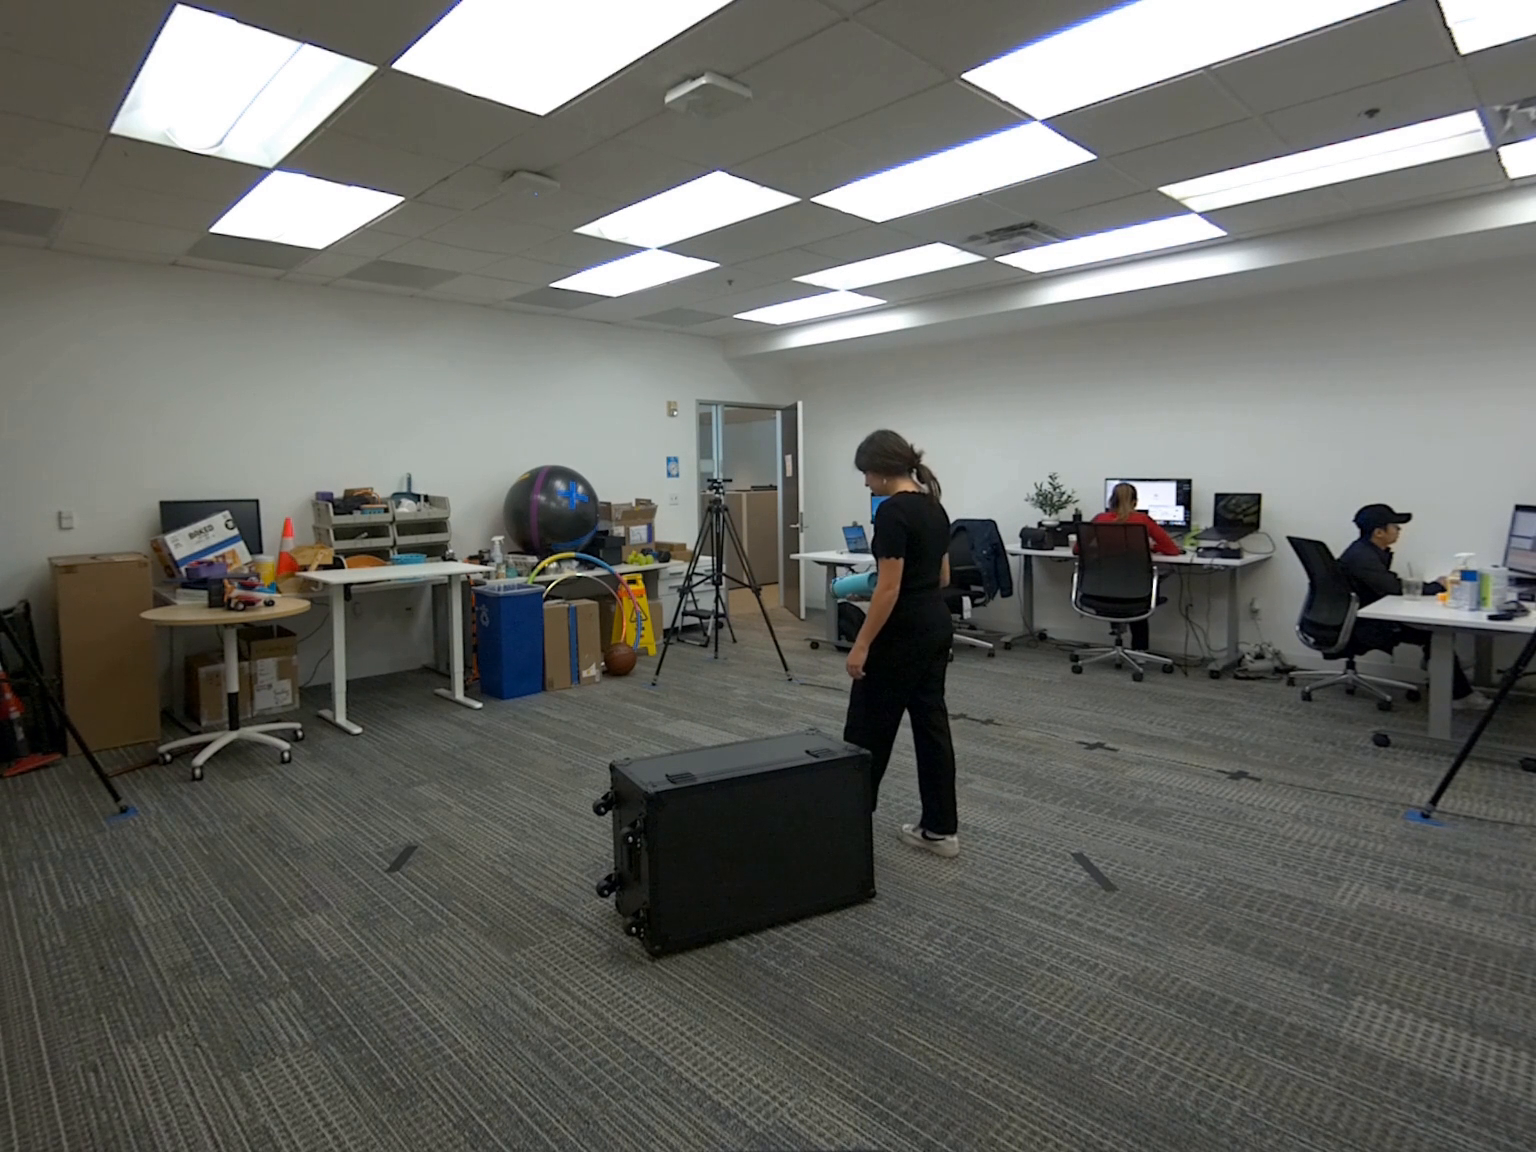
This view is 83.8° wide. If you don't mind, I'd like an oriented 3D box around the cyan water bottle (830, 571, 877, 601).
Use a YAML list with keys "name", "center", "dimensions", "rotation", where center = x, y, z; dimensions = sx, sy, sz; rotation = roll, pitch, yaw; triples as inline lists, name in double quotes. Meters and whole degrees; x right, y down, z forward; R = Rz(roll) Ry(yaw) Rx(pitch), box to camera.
- name: "cyan water bottle"
  center: [0.341, 0.042, 3.420]
  dimensions: [0.090, 0.093, 0.289]
  rotation: [-3, -3, -30]
